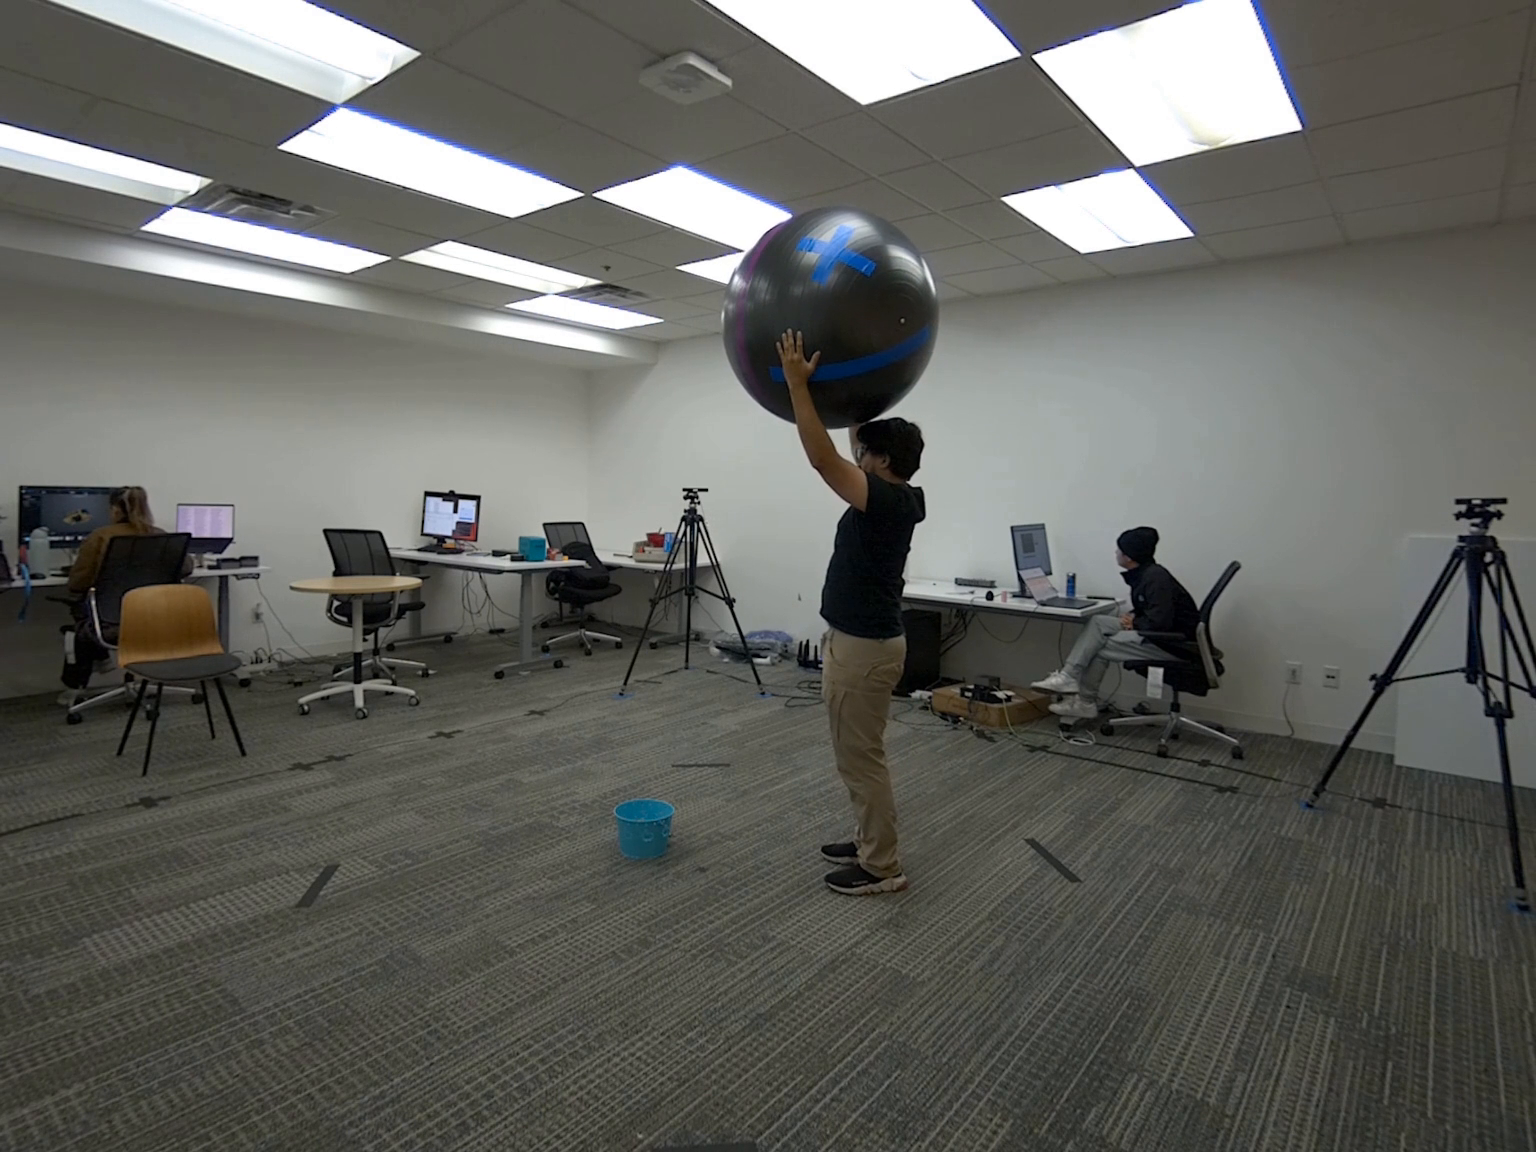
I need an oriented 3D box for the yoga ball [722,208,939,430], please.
[{"bbox_3d":[0.202,-0.899,3.005,0.757,0.756,0.761,1,4,-2],"label":"yoga ball"}]
